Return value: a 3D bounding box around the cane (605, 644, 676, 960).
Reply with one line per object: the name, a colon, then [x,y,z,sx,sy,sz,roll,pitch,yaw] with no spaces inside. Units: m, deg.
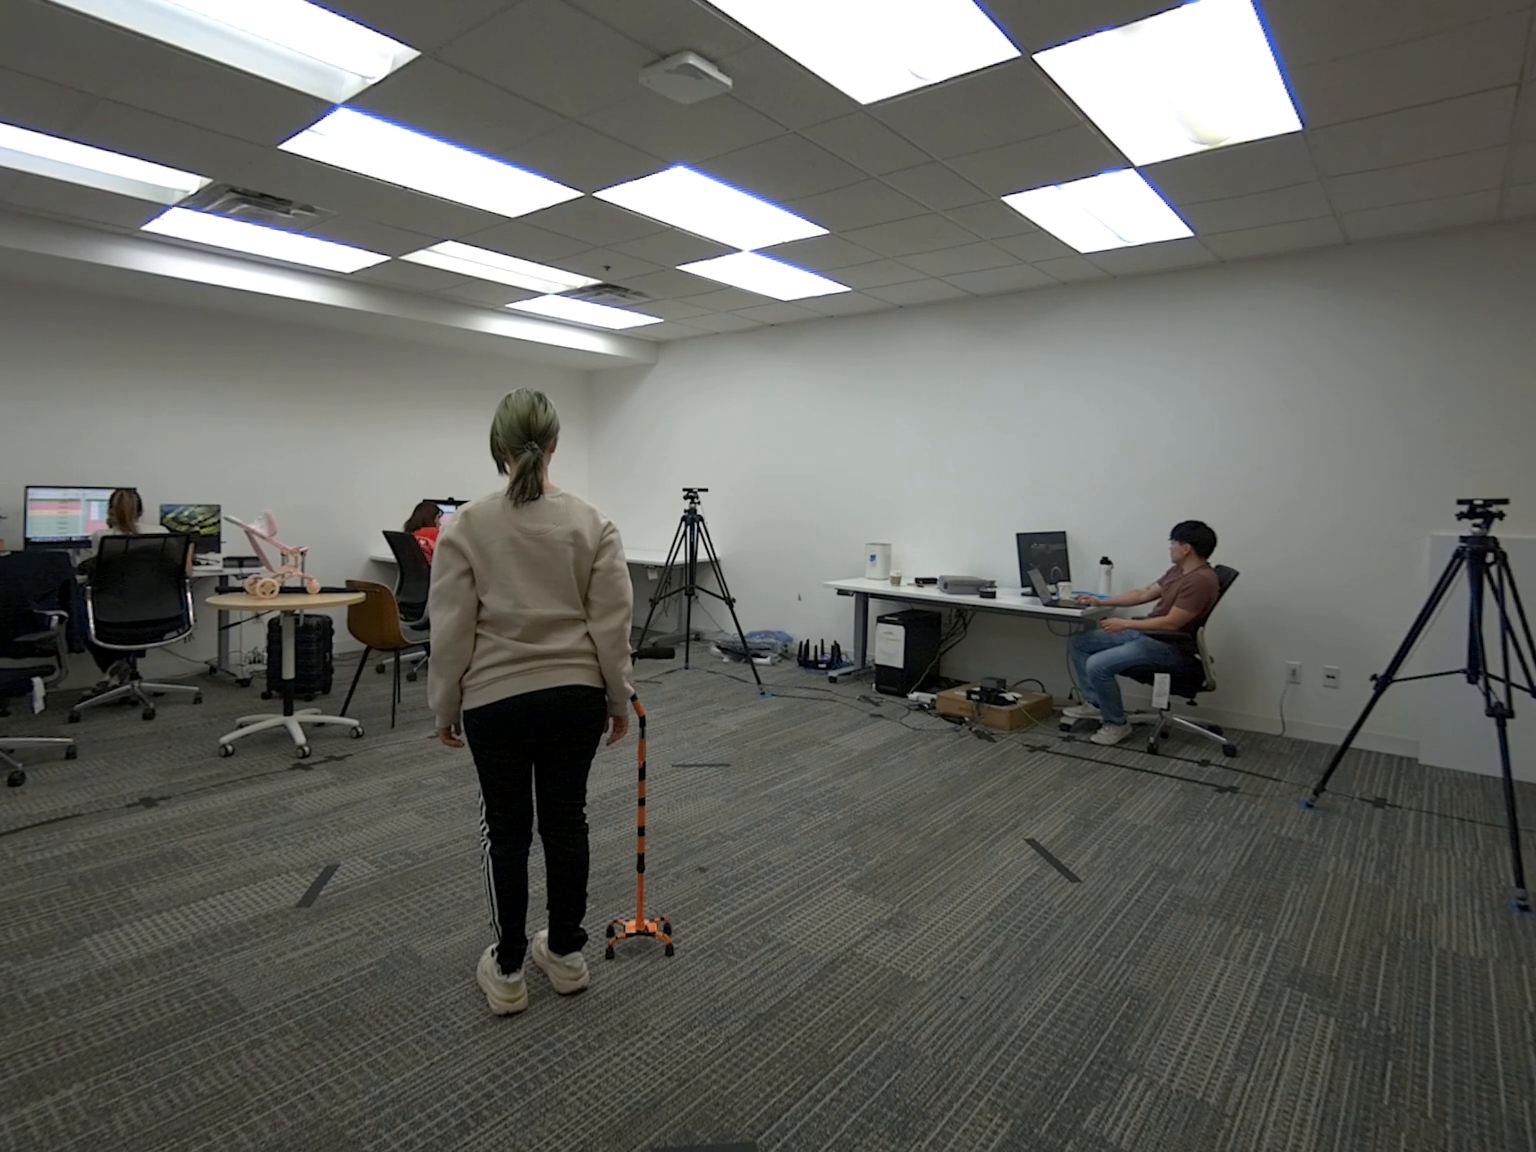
cane: [-0.387,0.669,2.558,0.205,0.905,0.153,1,3,-8]
